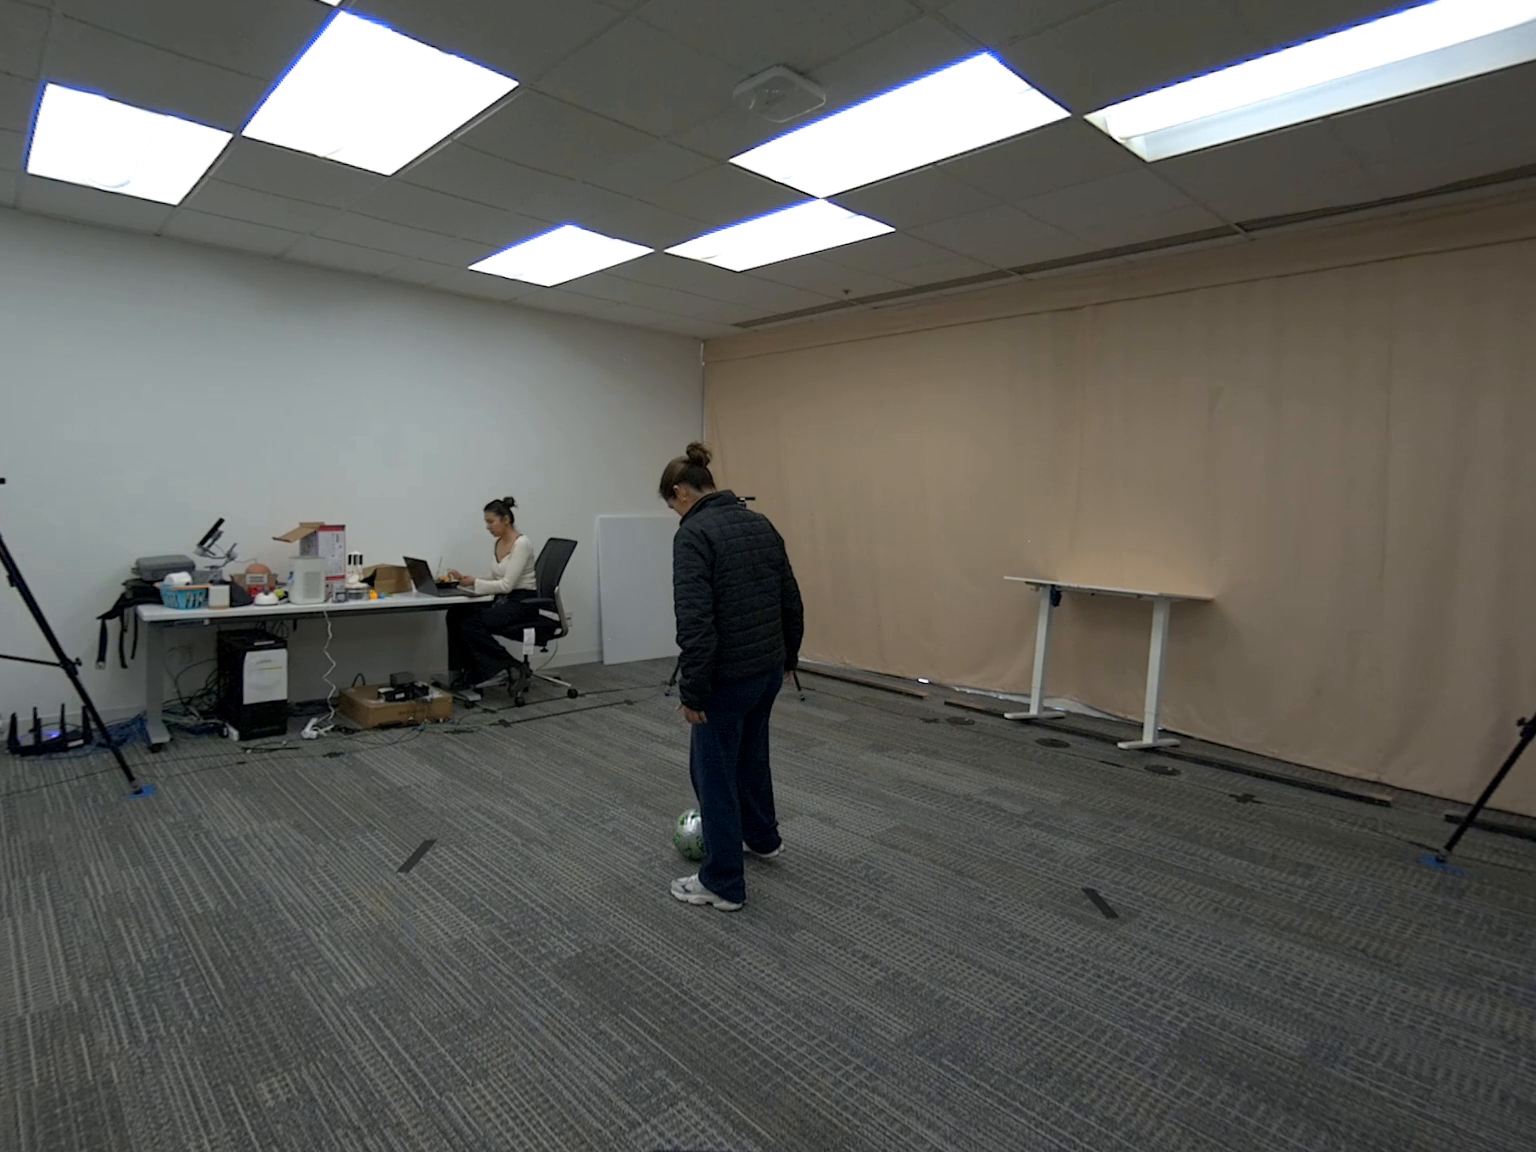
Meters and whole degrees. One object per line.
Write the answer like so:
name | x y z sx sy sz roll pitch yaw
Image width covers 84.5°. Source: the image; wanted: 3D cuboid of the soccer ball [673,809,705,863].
soccer ball | -0.277 0.988 3.253 0.187 0.187 0.188 1 4 -1
